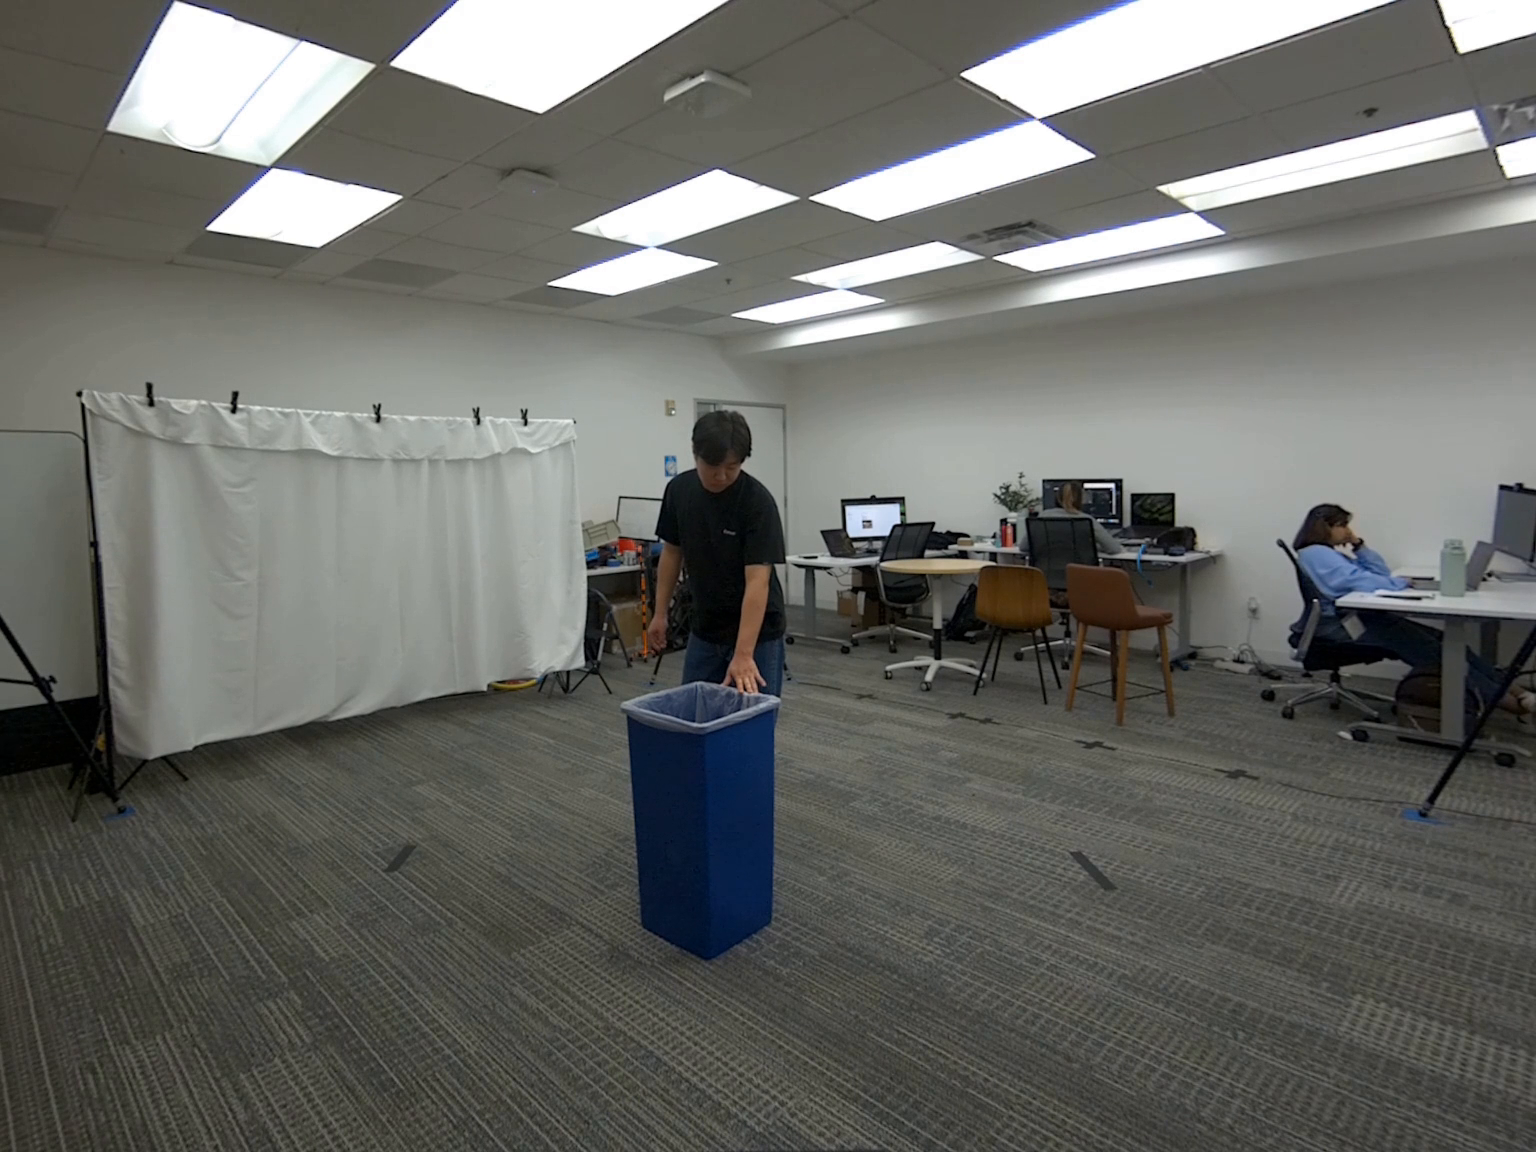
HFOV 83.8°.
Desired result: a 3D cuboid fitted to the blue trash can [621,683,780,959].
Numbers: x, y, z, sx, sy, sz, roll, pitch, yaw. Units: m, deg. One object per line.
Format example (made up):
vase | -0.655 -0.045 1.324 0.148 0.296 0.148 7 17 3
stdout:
blue trash can | -0.200 0.742 2.654 0.389 0.711 0.364 2 5 40
